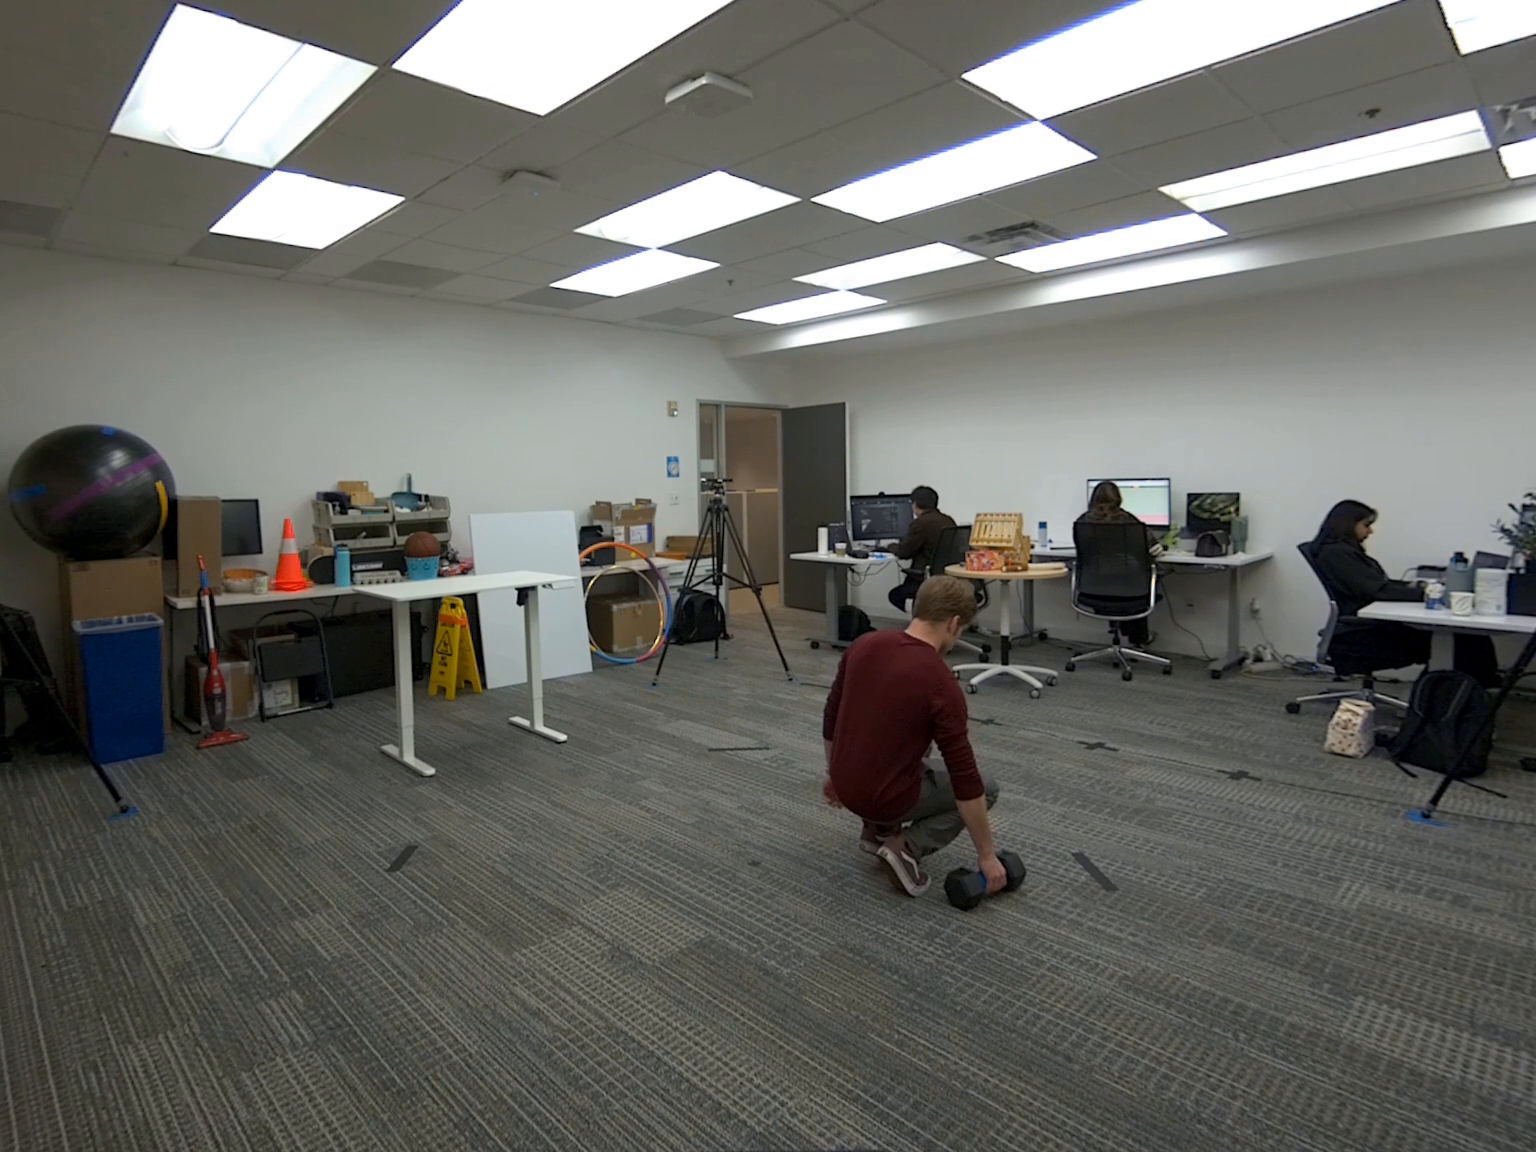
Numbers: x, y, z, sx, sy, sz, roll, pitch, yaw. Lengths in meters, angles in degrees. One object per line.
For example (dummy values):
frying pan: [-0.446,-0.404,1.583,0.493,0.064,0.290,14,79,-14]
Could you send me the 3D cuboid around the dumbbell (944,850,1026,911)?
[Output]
dumbbell: [0.724,0.999,2.824,0.286,0.126,0.108,-7,-28,-34]
